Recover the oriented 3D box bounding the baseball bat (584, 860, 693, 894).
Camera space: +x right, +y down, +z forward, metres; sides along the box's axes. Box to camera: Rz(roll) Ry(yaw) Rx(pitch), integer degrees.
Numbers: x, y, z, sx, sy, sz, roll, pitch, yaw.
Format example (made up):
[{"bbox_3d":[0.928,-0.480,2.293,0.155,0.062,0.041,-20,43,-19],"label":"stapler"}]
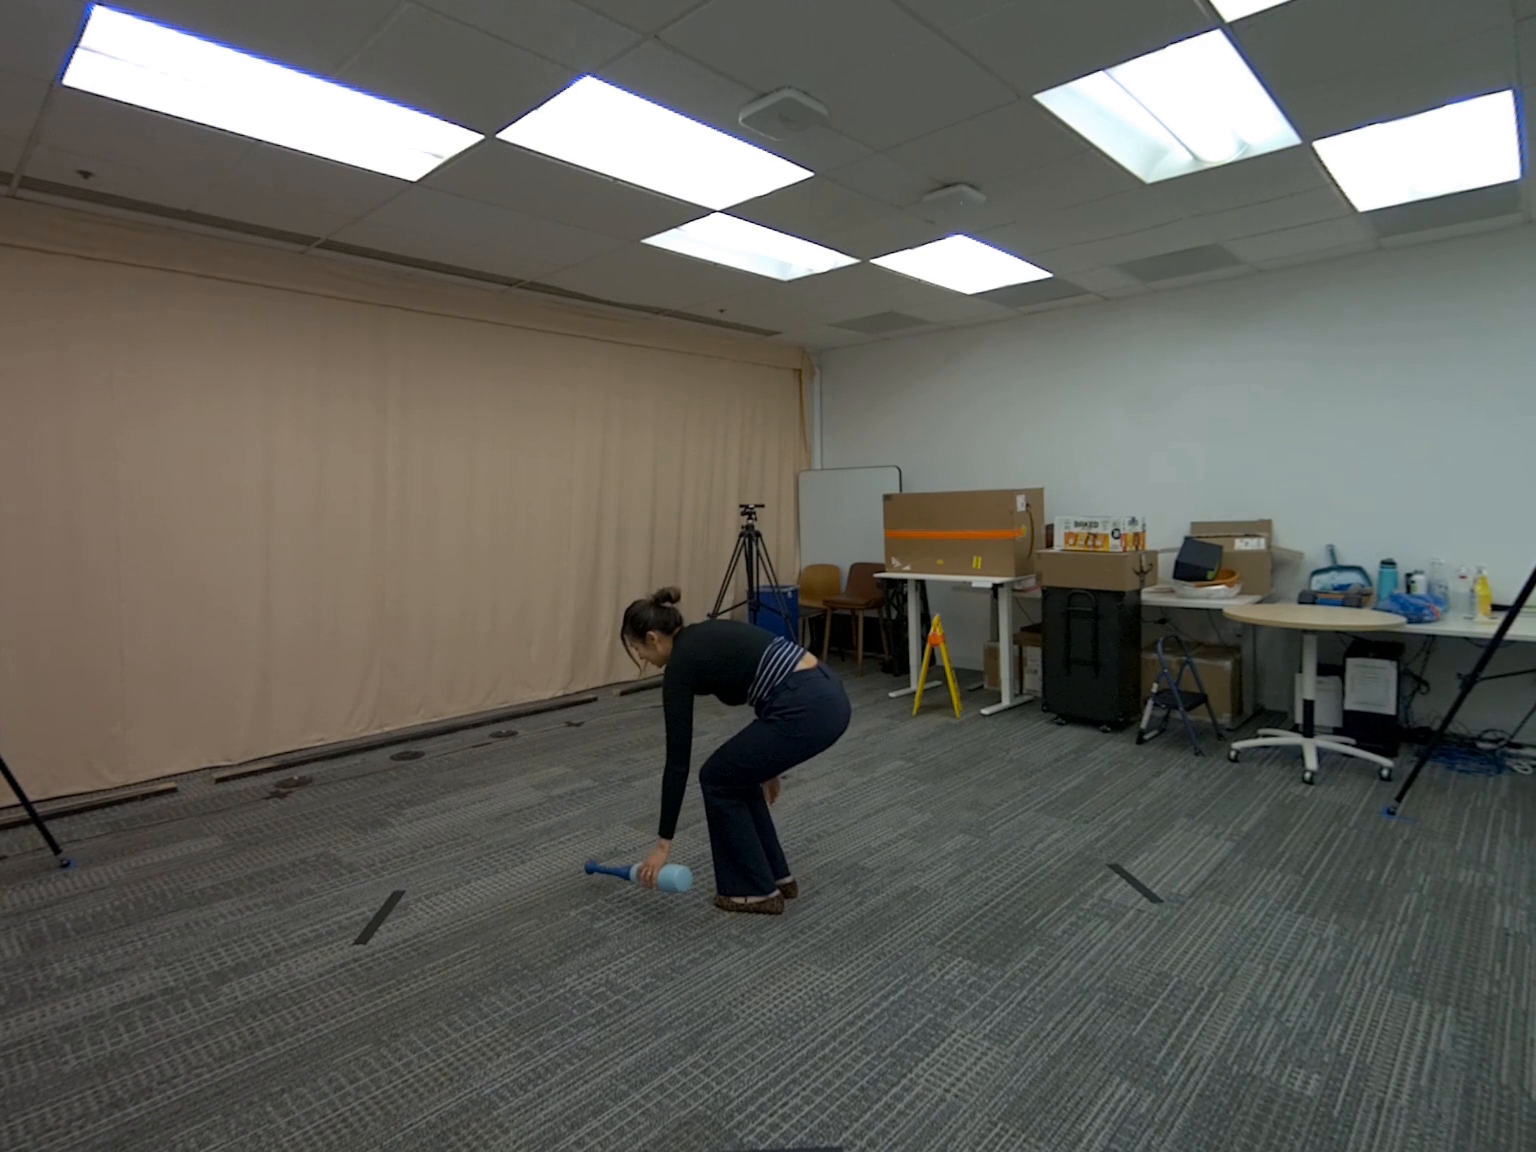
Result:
[{"bbox_3d":[-0.462,1.026,2.914,0.558,0.089,0.086,-12,-5,43],"label":"baseball bat"}]
